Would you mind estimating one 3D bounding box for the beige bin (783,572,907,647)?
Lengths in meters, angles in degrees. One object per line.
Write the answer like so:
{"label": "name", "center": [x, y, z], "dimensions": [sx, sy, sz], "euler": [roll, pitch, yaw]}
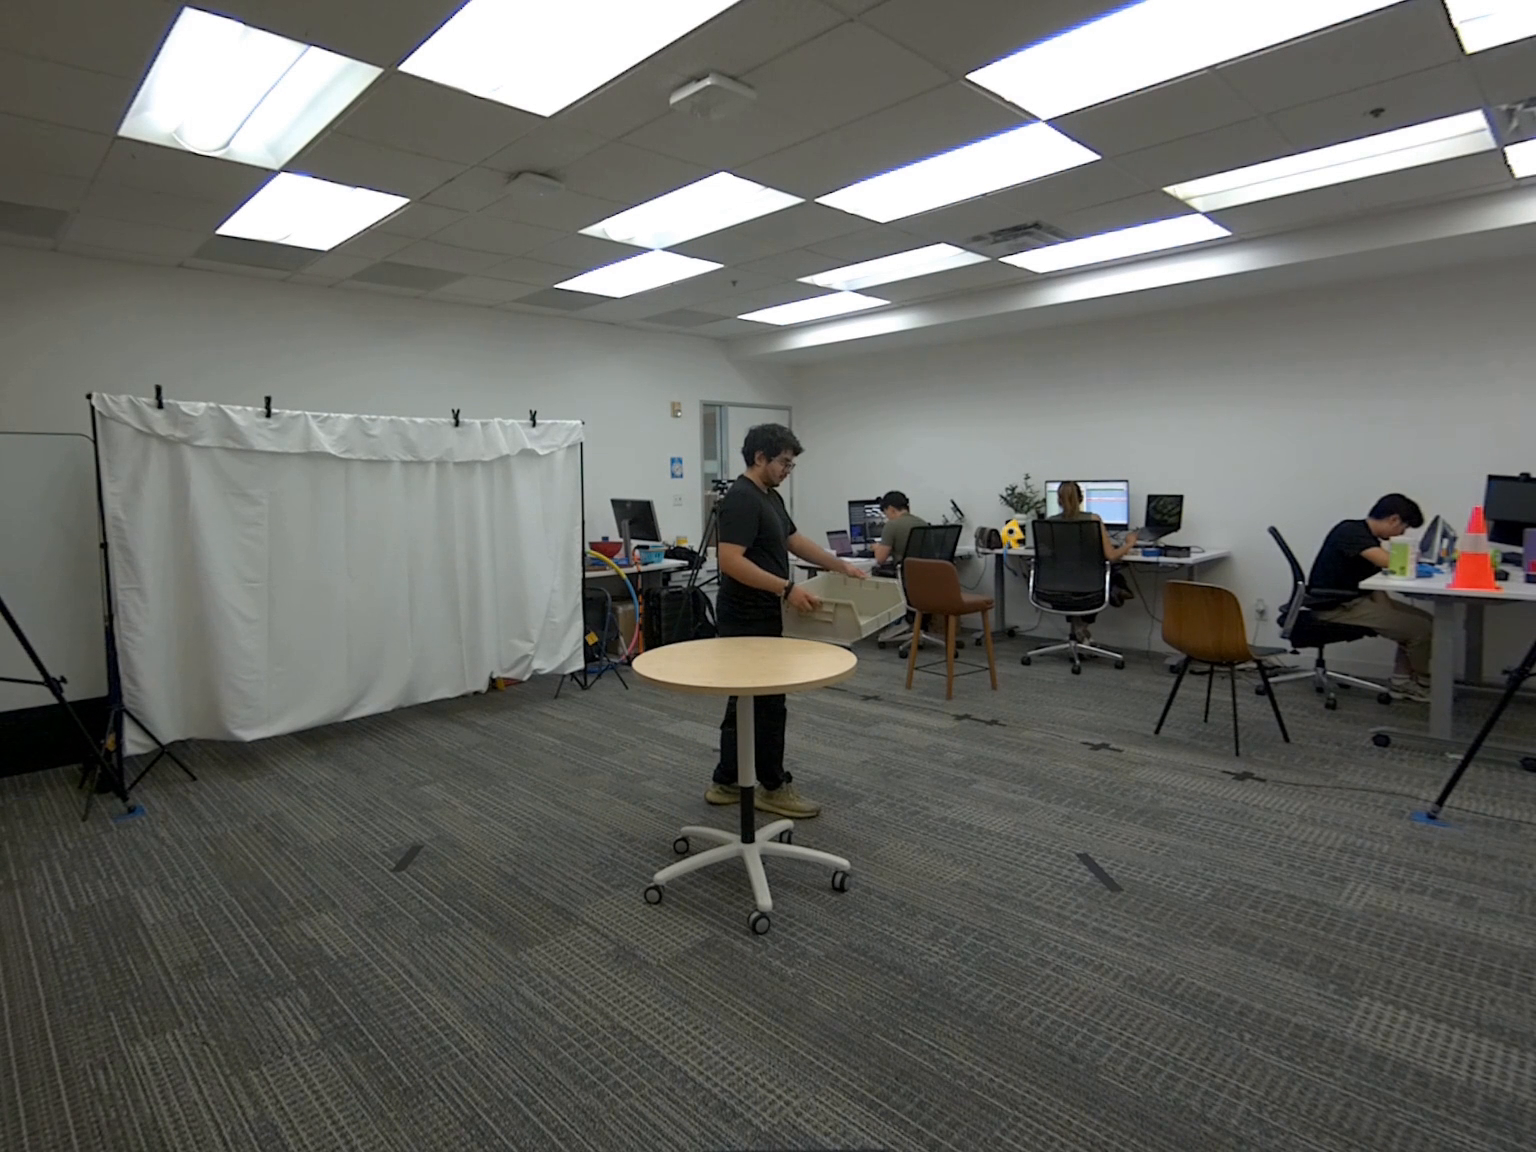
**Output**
{"label": "beige bin", "center": [0.309, 0.131, 3.510], "dimensions": [0.388, 0.187, 0.415], "euler": [4, 14, 34]}
